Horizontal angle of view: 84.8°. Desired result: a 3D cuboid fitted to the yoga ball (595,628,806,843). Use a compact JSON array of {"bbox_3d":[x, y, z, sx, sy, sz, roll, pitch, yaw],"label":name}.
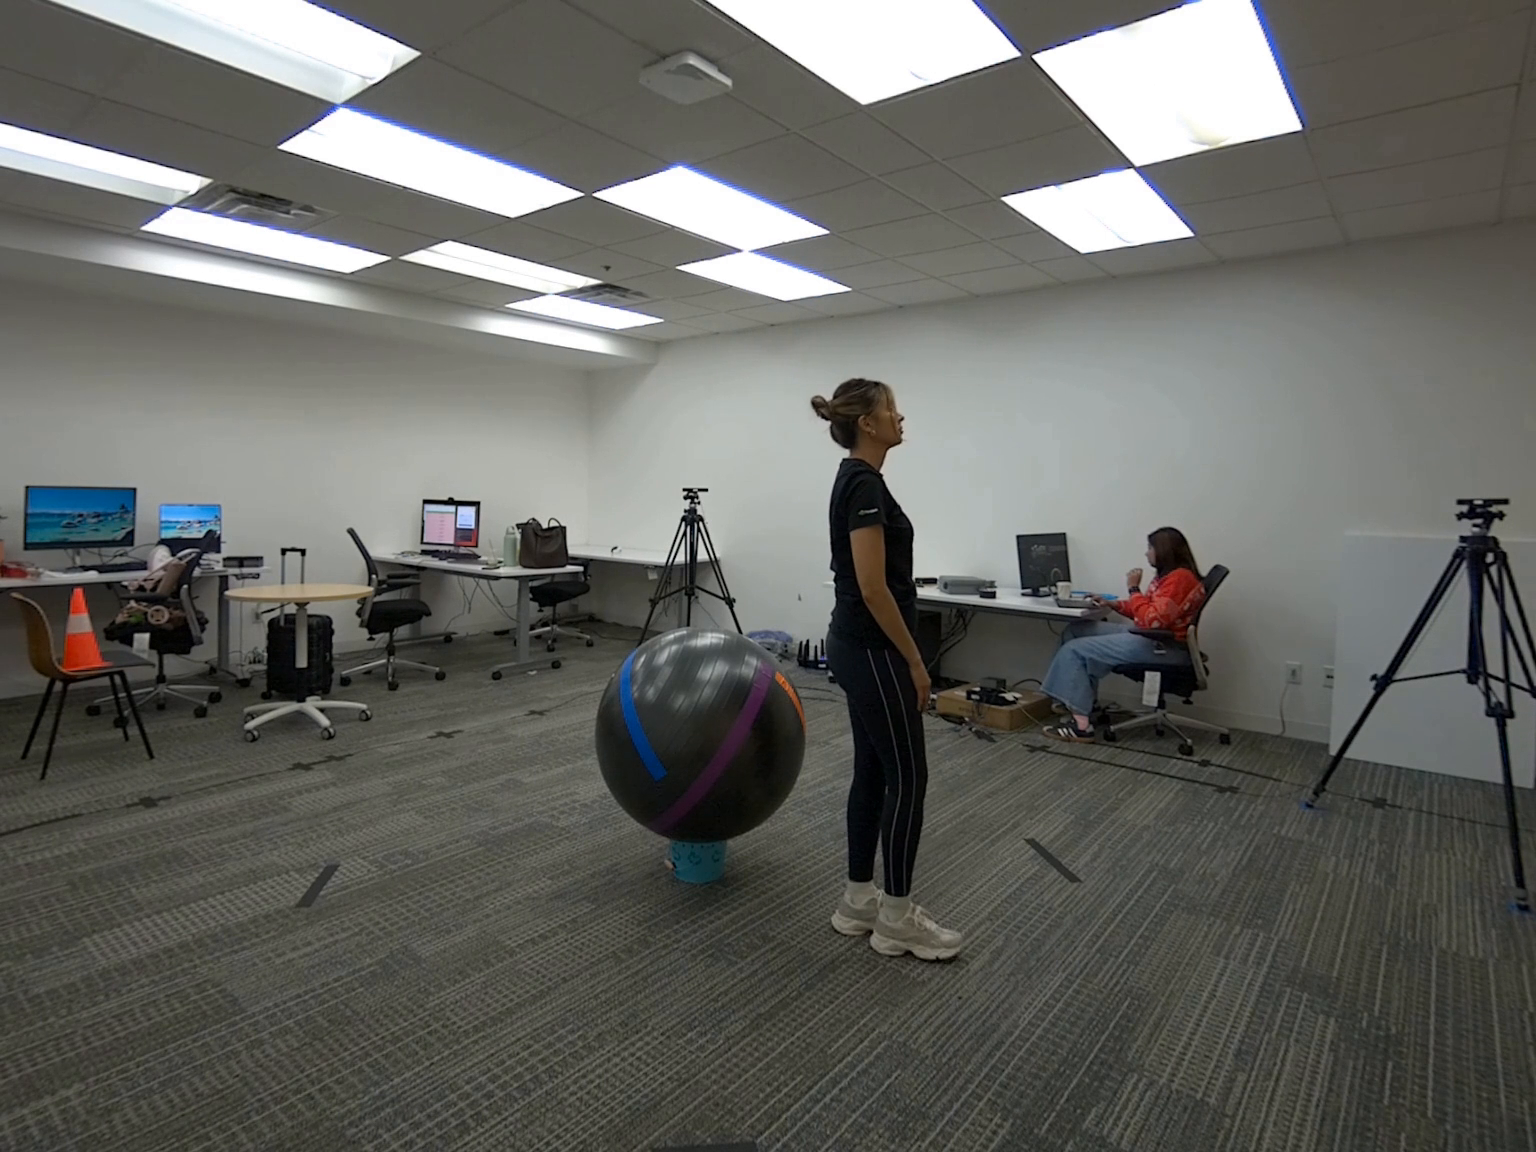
[{"bbox_3d":[-0.254,0.560,3.070,0.757,0.756,0.762,1,4,-2],"label":"yoga ball"}]
